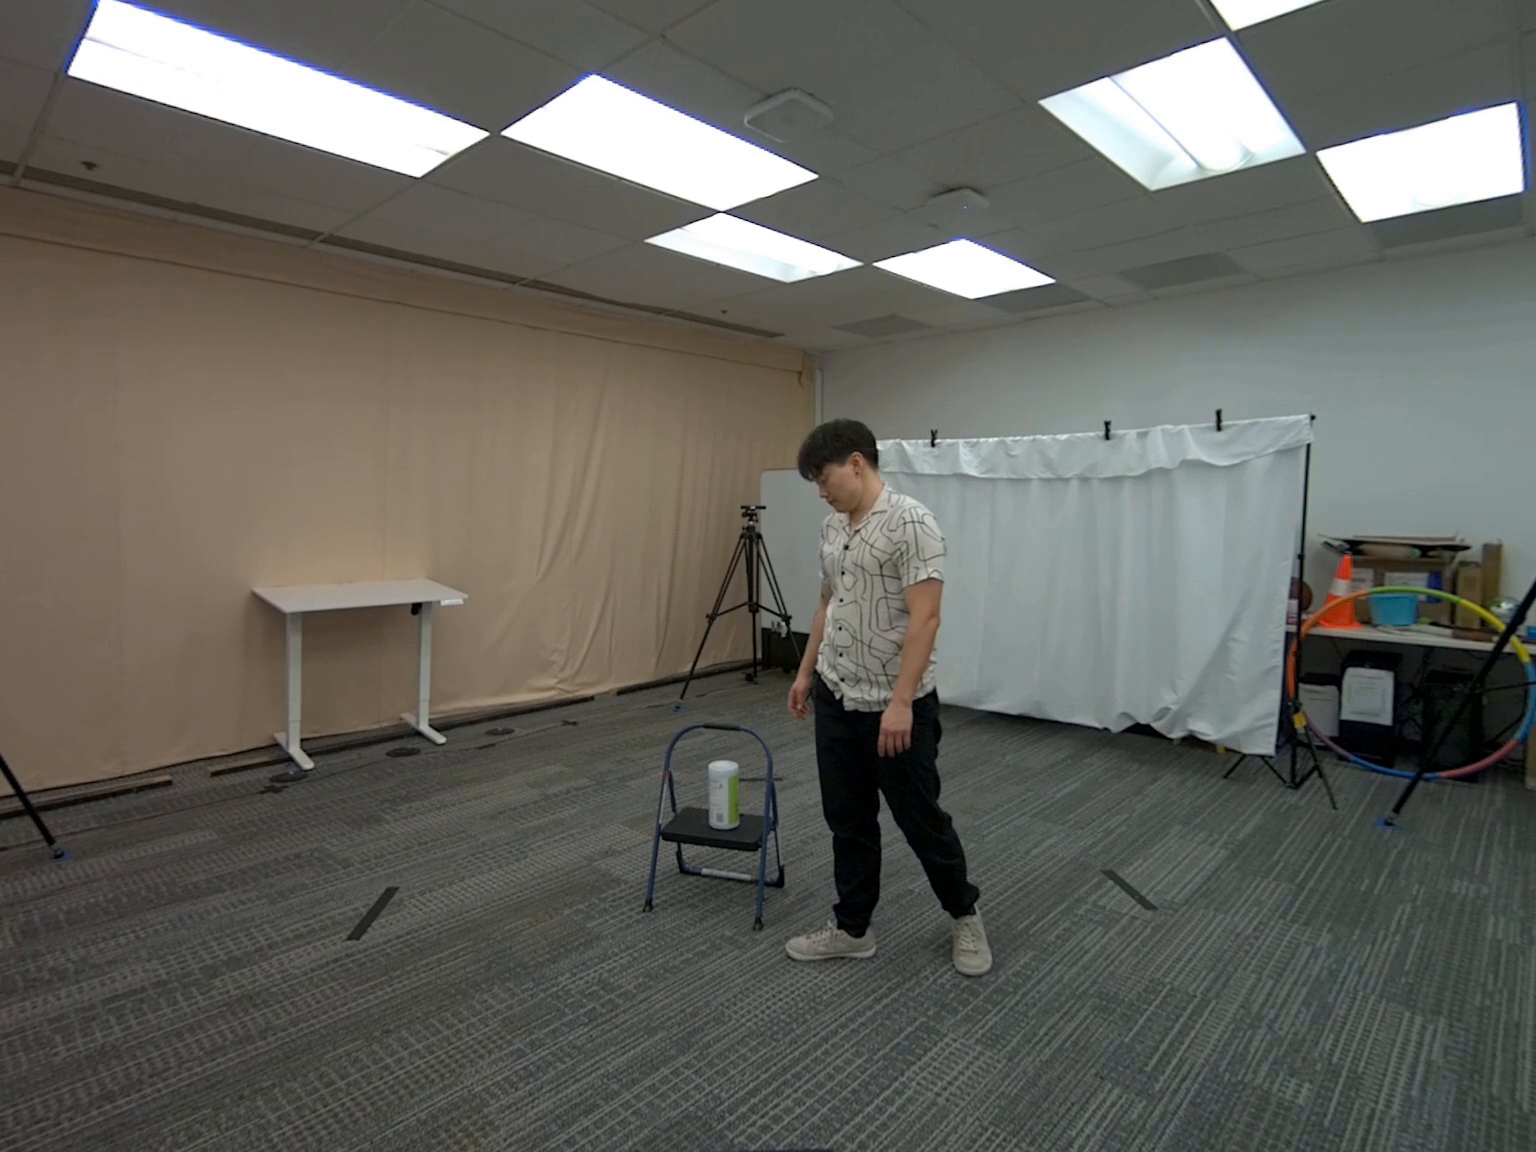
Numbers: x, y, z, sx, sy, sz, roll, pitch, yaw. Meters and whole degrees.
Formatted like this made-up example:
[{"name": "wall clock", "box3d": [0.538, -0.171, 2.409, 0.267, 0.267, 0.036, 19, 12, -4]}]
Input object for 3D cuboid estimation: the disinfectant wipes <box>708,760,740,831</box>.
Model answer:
[{"name": "disinfectant wipes", "box3d": [-0.154, 0.781, 2.983, 0.118, 0.217, 0.118, -5, 4, -1]}]
